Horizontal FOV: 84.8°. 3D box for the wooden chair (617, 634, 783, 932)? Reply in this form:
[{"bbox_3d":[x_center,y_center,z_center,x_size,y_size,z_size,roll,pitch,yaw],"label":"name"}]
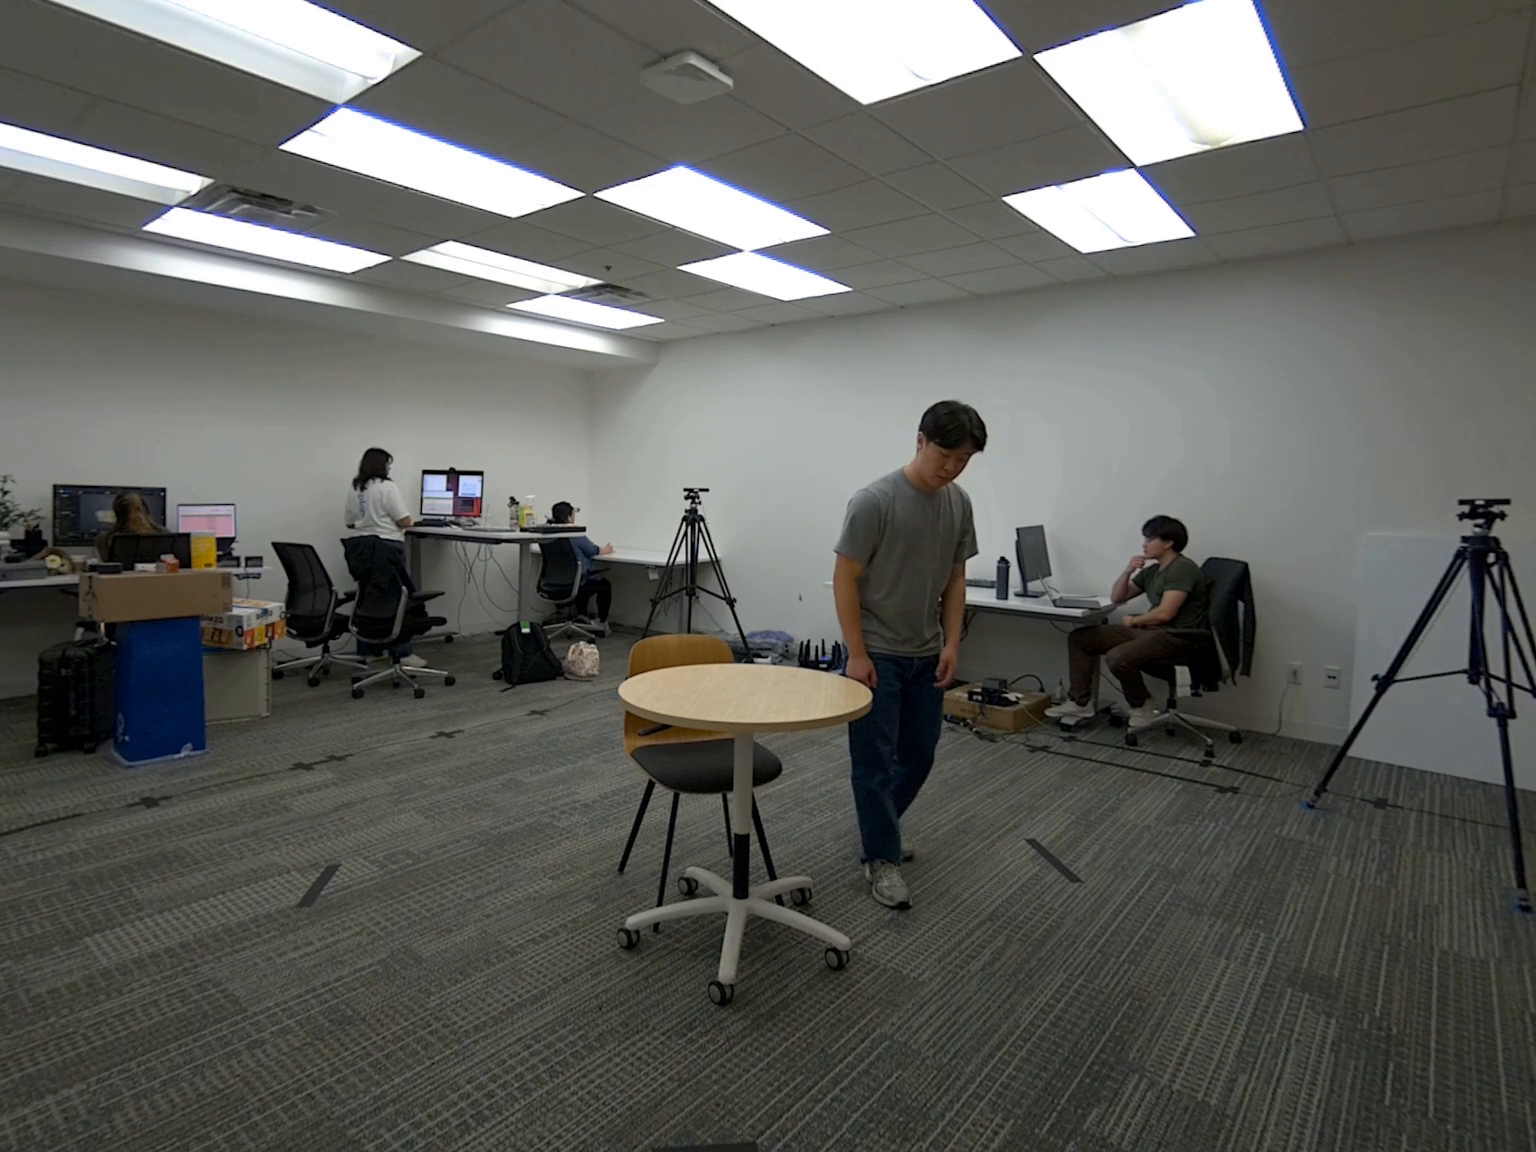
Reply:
[{"bbox_3d":[-0.244,0.659,2.918,0.467,0.879,0.534,0,-1,-23],"label":"wooden chair"}]
